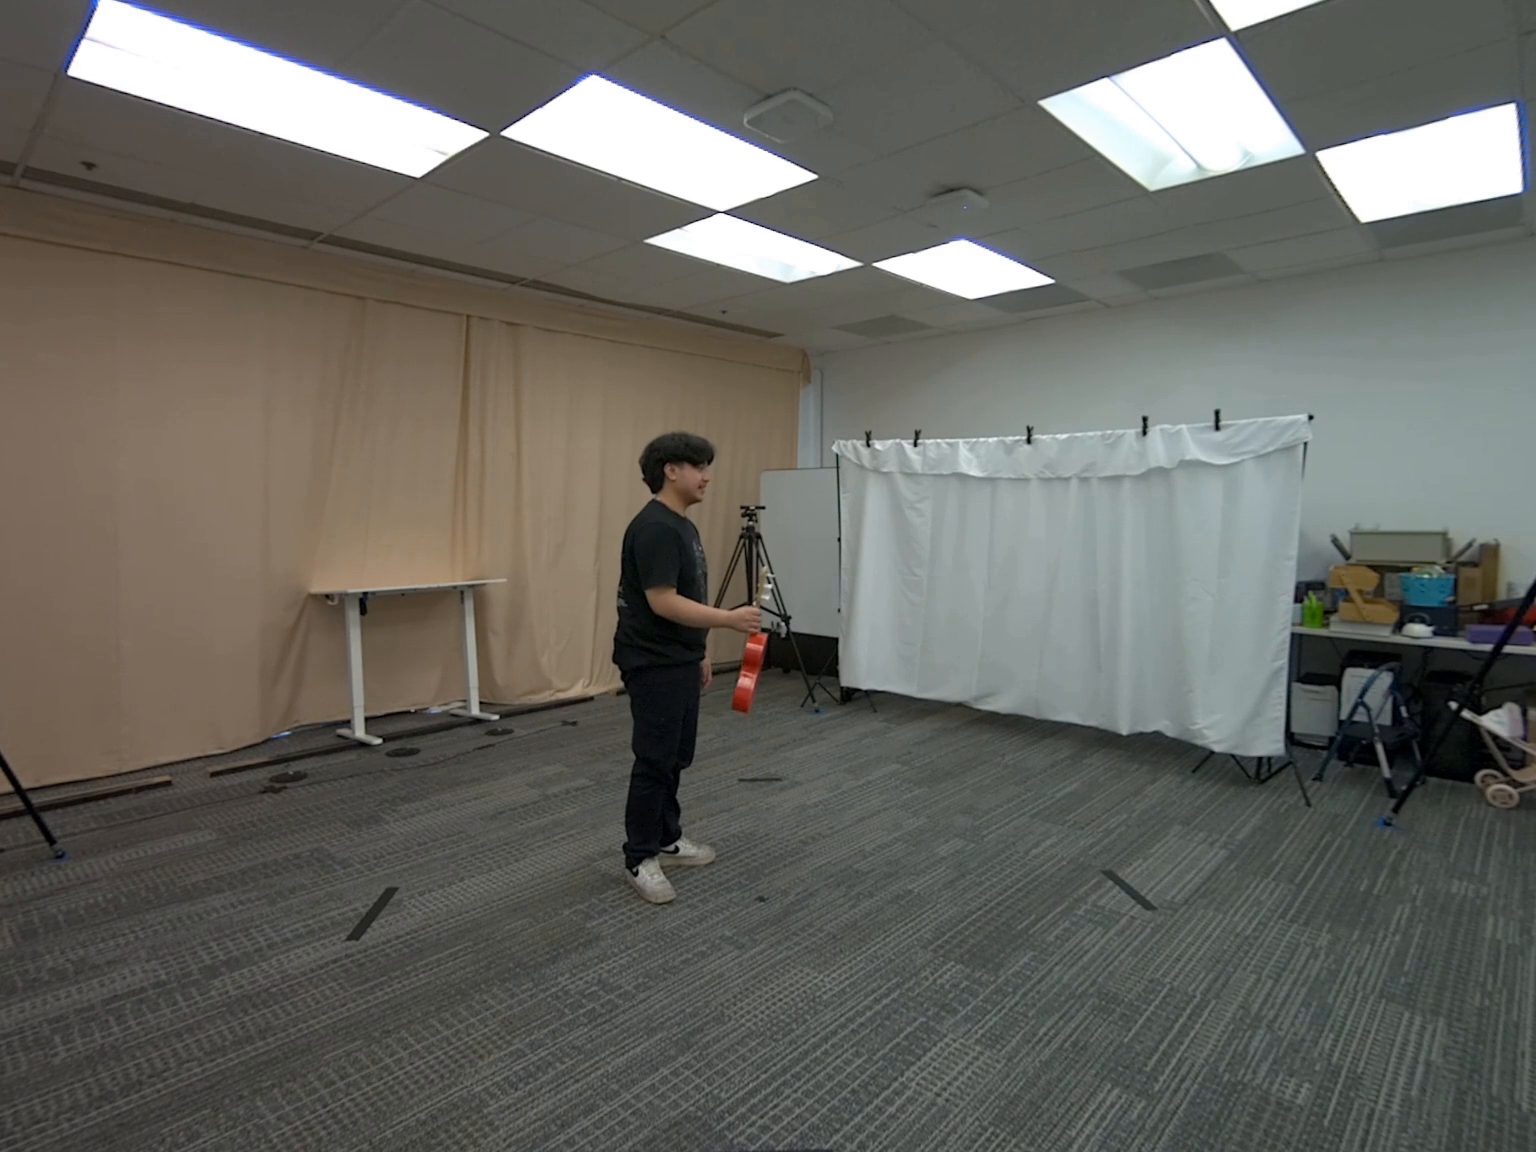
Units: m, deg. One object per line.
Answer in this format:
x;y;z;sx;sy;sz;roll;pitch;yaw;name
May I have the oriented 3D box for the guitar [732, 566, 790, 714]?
-0.040;0.228;2.848;0.071;0.494;0.192;13;17;6;guitar
